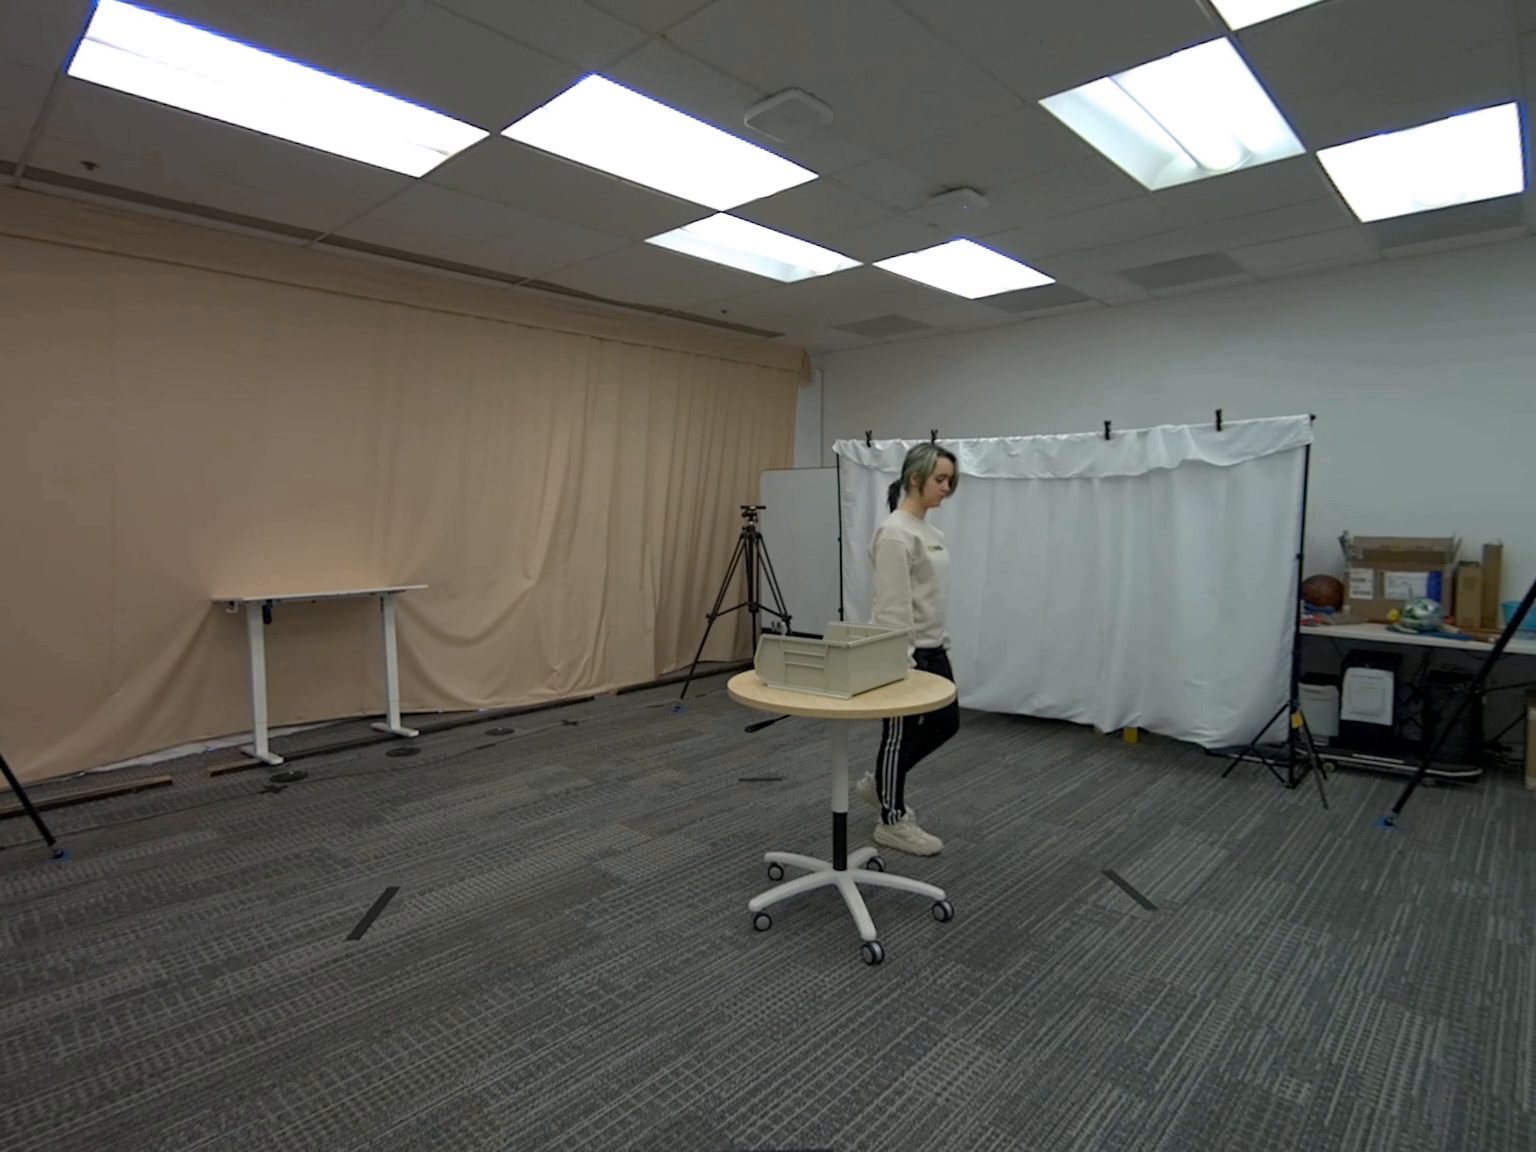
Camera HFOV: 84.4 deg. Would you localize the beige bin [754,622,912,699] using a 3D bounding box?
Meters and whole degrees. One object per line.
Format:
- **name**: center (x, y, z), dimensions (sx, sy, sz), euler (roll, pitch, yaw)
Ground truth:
- **beige bin**: center (0.228, 0.277, 2.889), dimensions (0.390, 0.188, 0.409), euler (4, 6, 39)
